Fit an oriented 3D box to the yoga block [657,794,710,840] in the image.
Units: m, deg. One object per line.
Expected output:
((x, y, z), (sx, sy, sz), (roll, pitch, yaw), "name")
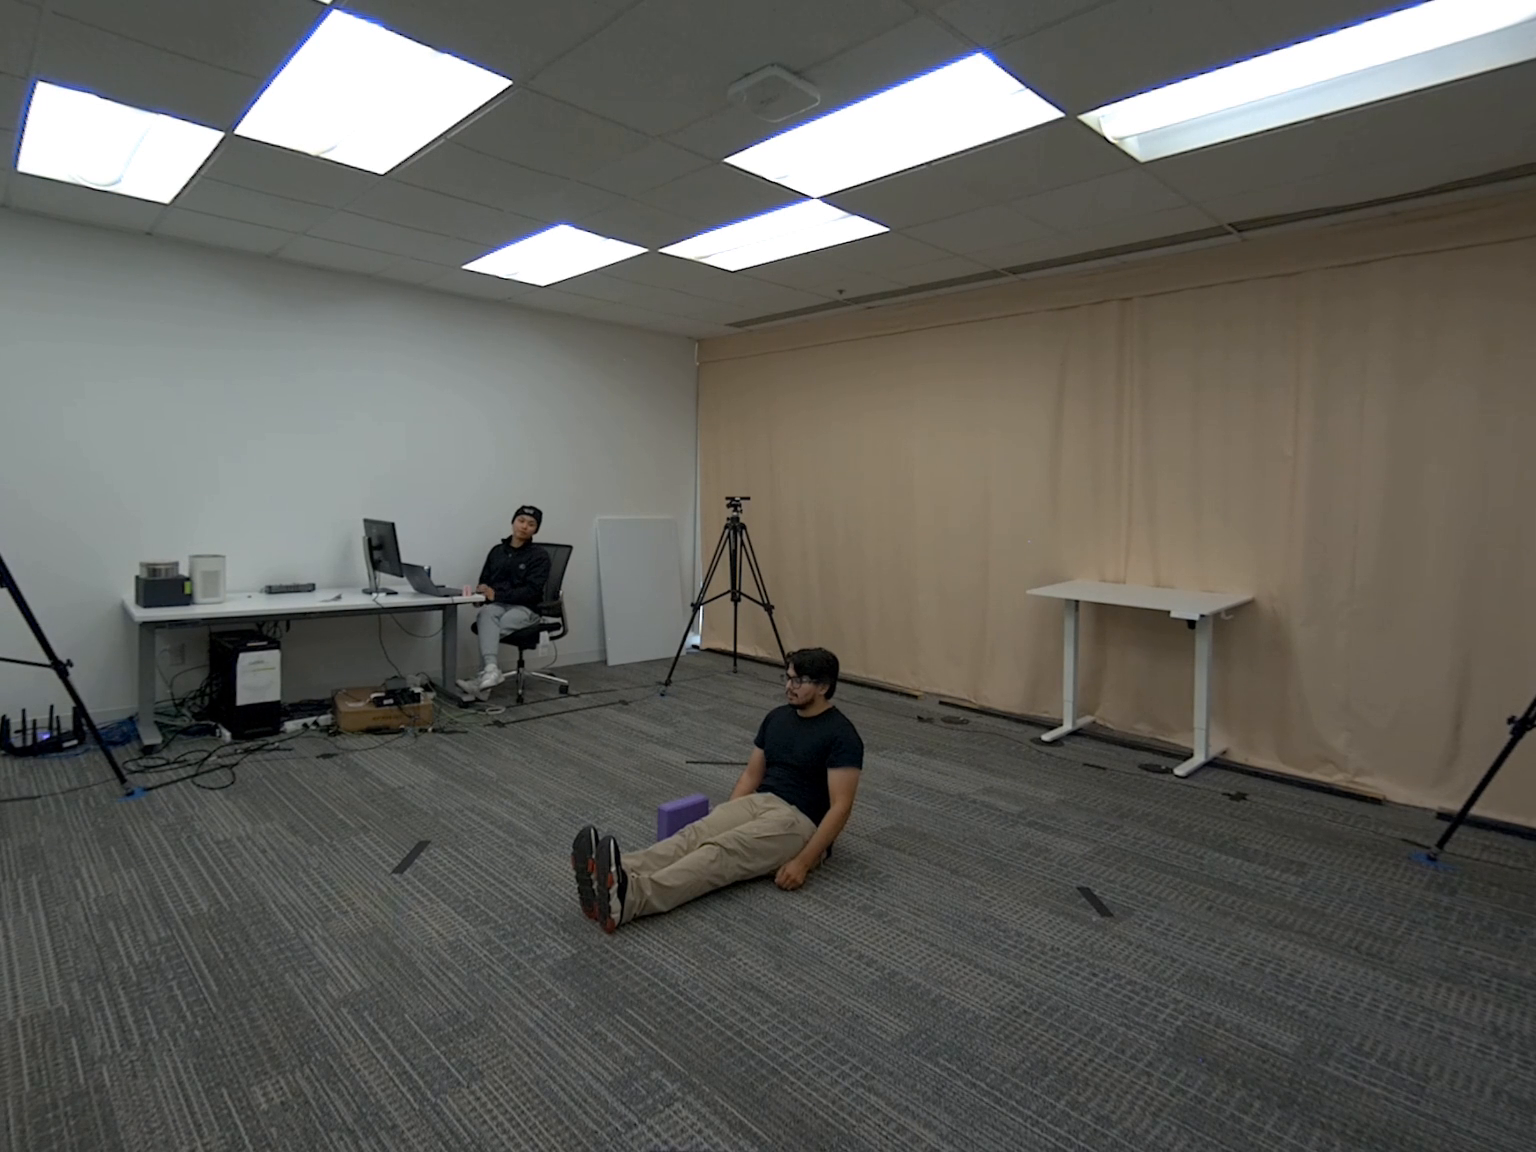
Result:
((-0.352, 0.990, 3.459), (0.078, 0.149, 0.224), (3, 5, 44), "yoga block")
